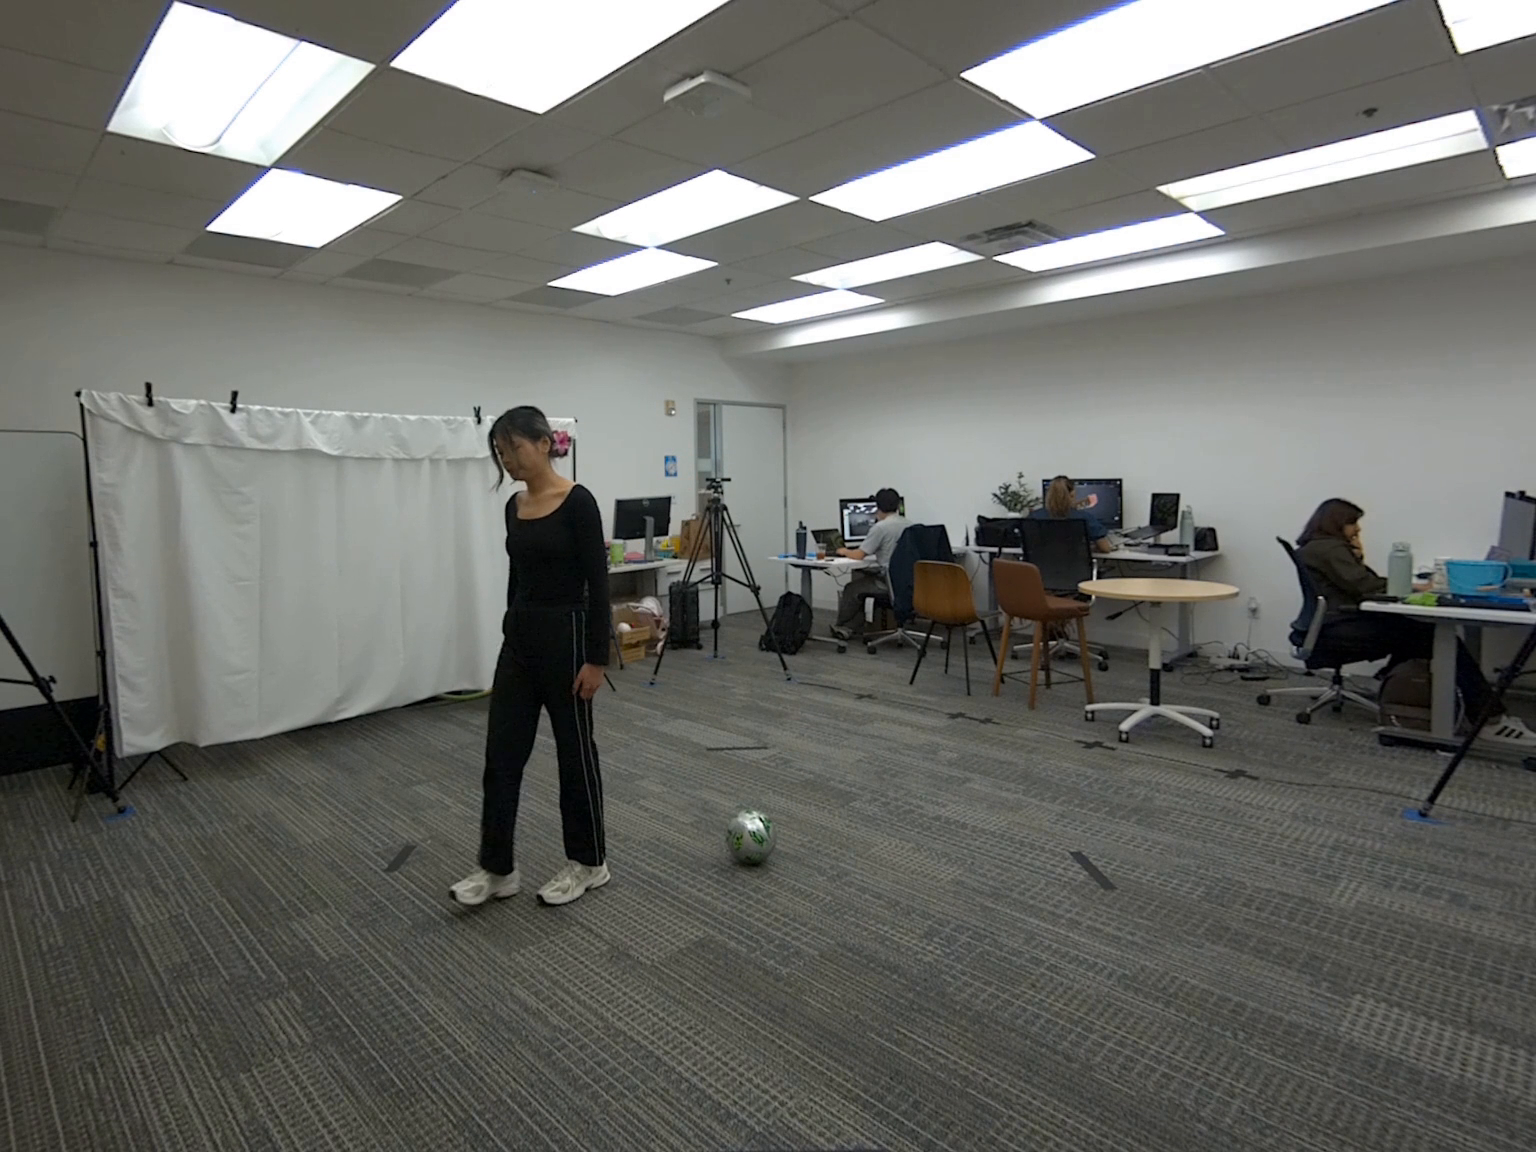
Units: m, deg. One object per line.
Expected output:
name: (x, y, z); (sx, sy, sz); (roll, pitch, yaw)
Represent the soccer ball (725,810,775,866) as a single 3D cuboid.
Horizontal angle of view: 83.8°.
soccer ball: (-0.059, 0.946, 3.111); (0.187, 0.187, 0.188); (-1, 5, -2)
